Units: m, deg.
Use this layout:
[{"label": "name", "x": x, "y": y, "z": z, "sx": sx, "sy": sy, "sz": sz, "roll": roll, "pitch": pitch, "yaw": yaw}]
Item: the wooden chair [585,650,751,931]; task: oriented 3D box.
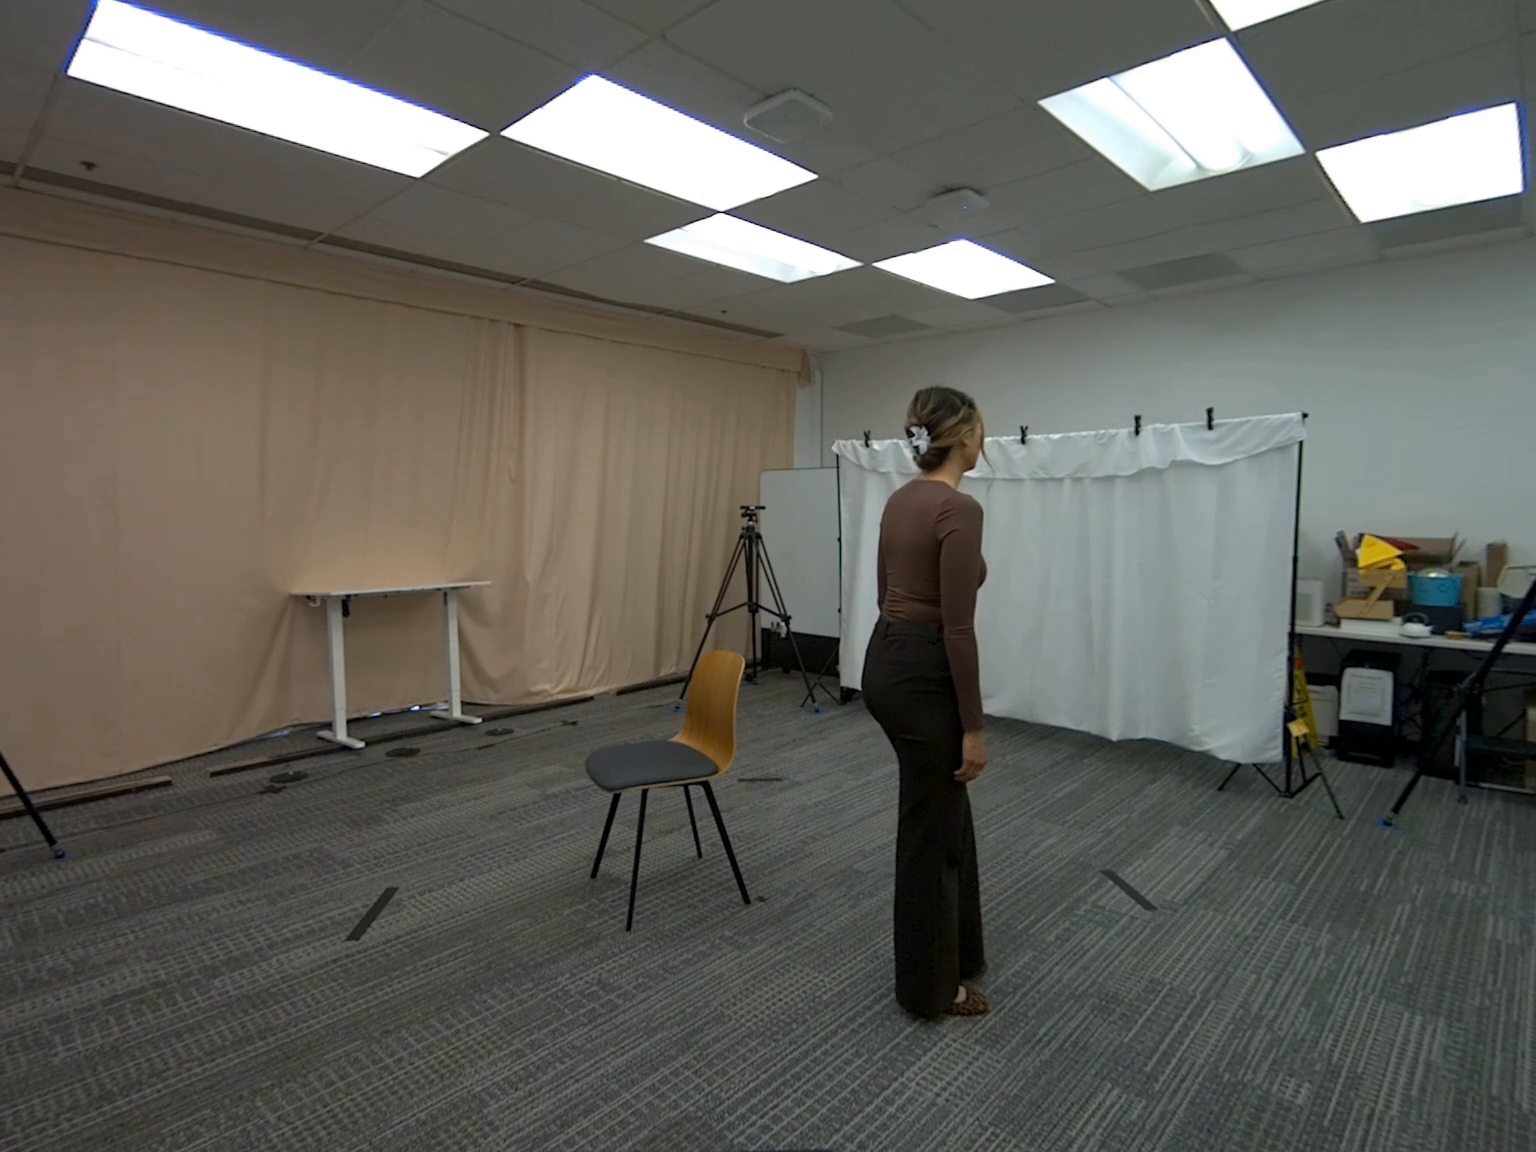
[{"label": "wooden chair", "x": -0.371, "y": 0.716, "z": 3.024, "sx": 0.510, "sy": 0.876, "sz": 0.491, "roll": 3, "pitch": 2, "yaw": -26}]
